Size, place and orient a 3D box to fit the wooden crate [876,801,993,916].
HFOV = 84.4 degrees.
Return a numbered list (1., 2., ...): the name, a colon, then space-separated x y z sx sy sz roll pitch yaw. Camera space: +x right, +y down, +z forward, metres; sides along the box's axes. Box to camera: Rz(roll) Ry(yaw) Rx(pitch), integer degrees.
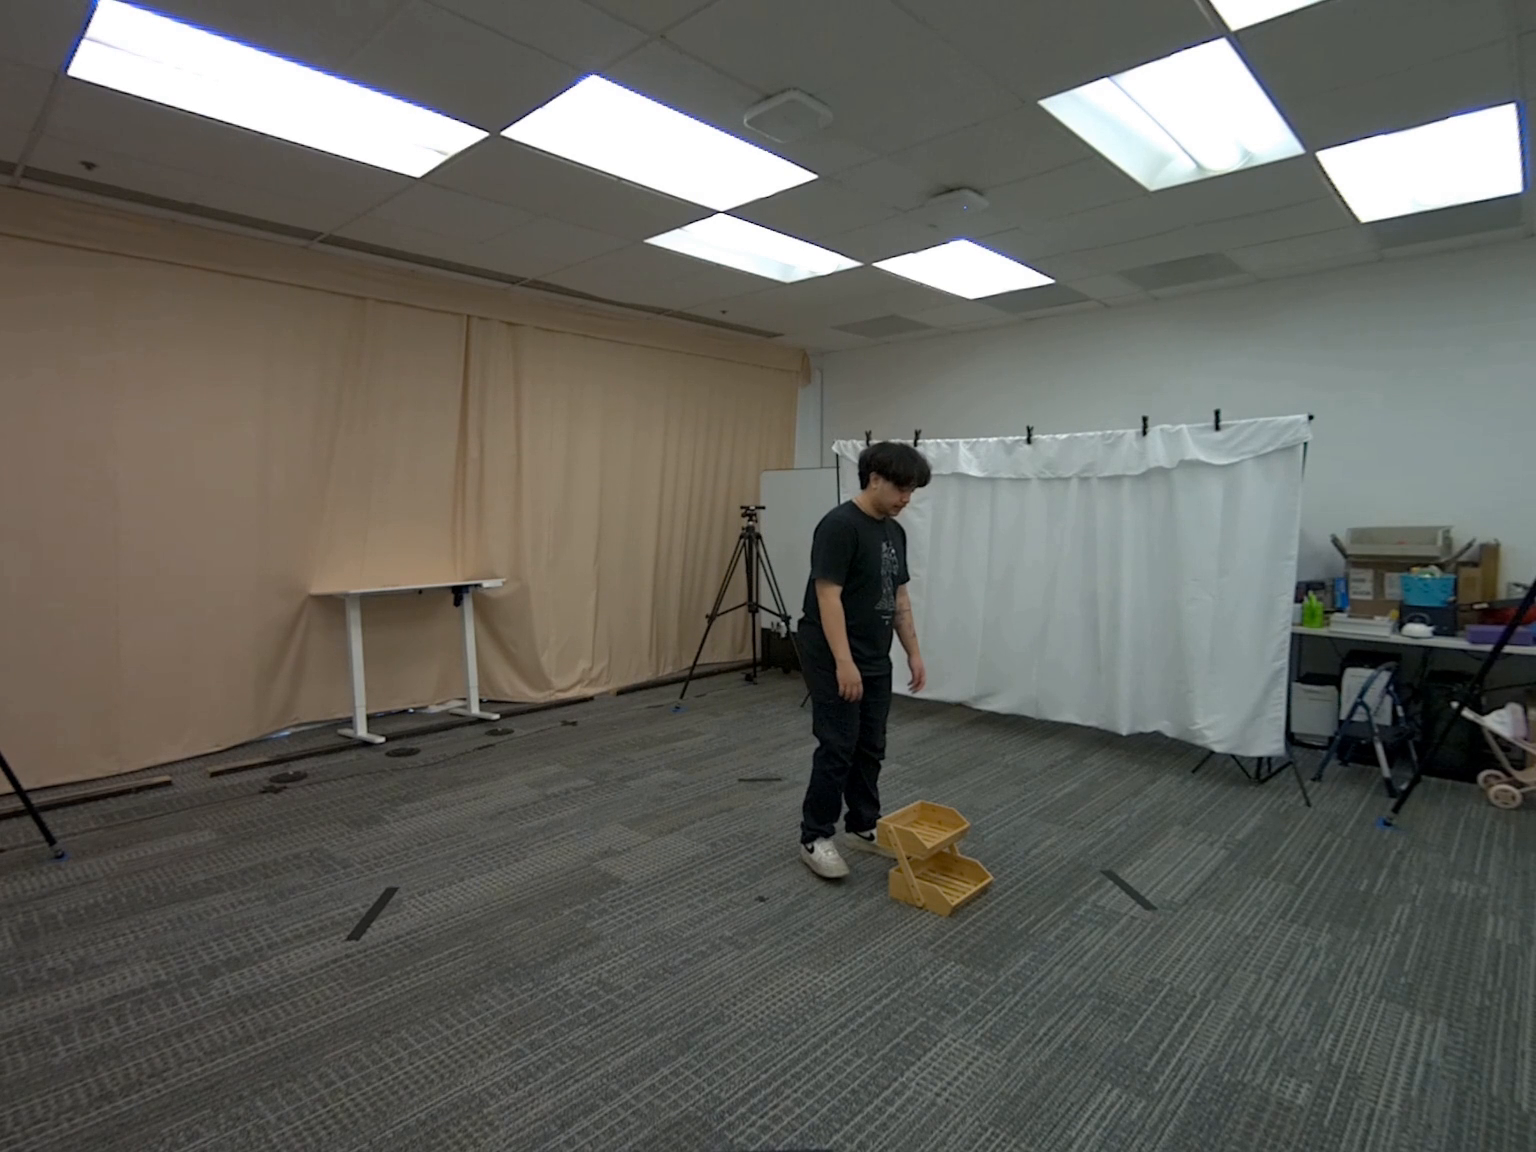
1. wooden crate: 0.617 1.004 3.031 0.312 0.273 0.314 2 4 42
